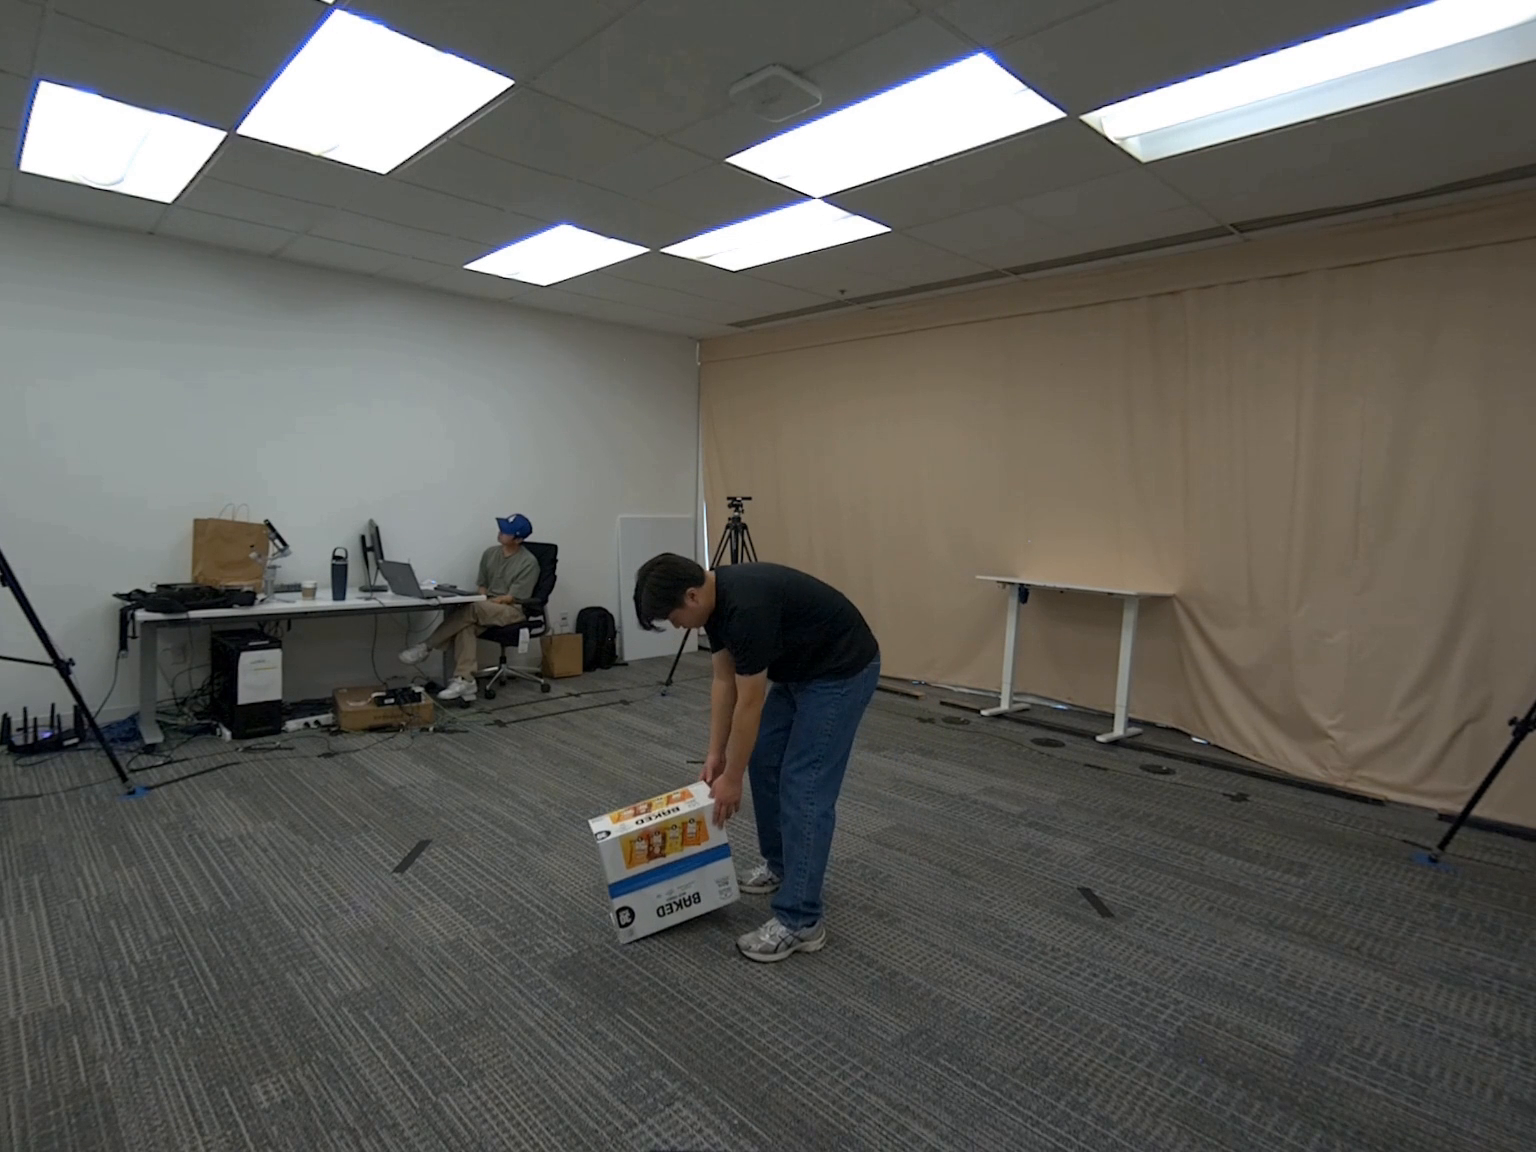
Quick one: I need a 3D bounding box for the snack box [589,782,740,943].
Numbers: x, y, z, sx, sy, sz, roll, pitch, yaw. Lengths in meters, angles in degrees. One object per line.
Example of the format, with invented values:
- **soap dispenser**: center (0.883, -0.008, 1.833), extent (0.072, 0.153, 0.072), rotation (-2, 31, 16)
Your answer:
- **snack box**: center (-0.339, 0.920, 2.742), extent (0.401, 0.338, 0.209), rotation (-13, 7, -17)
